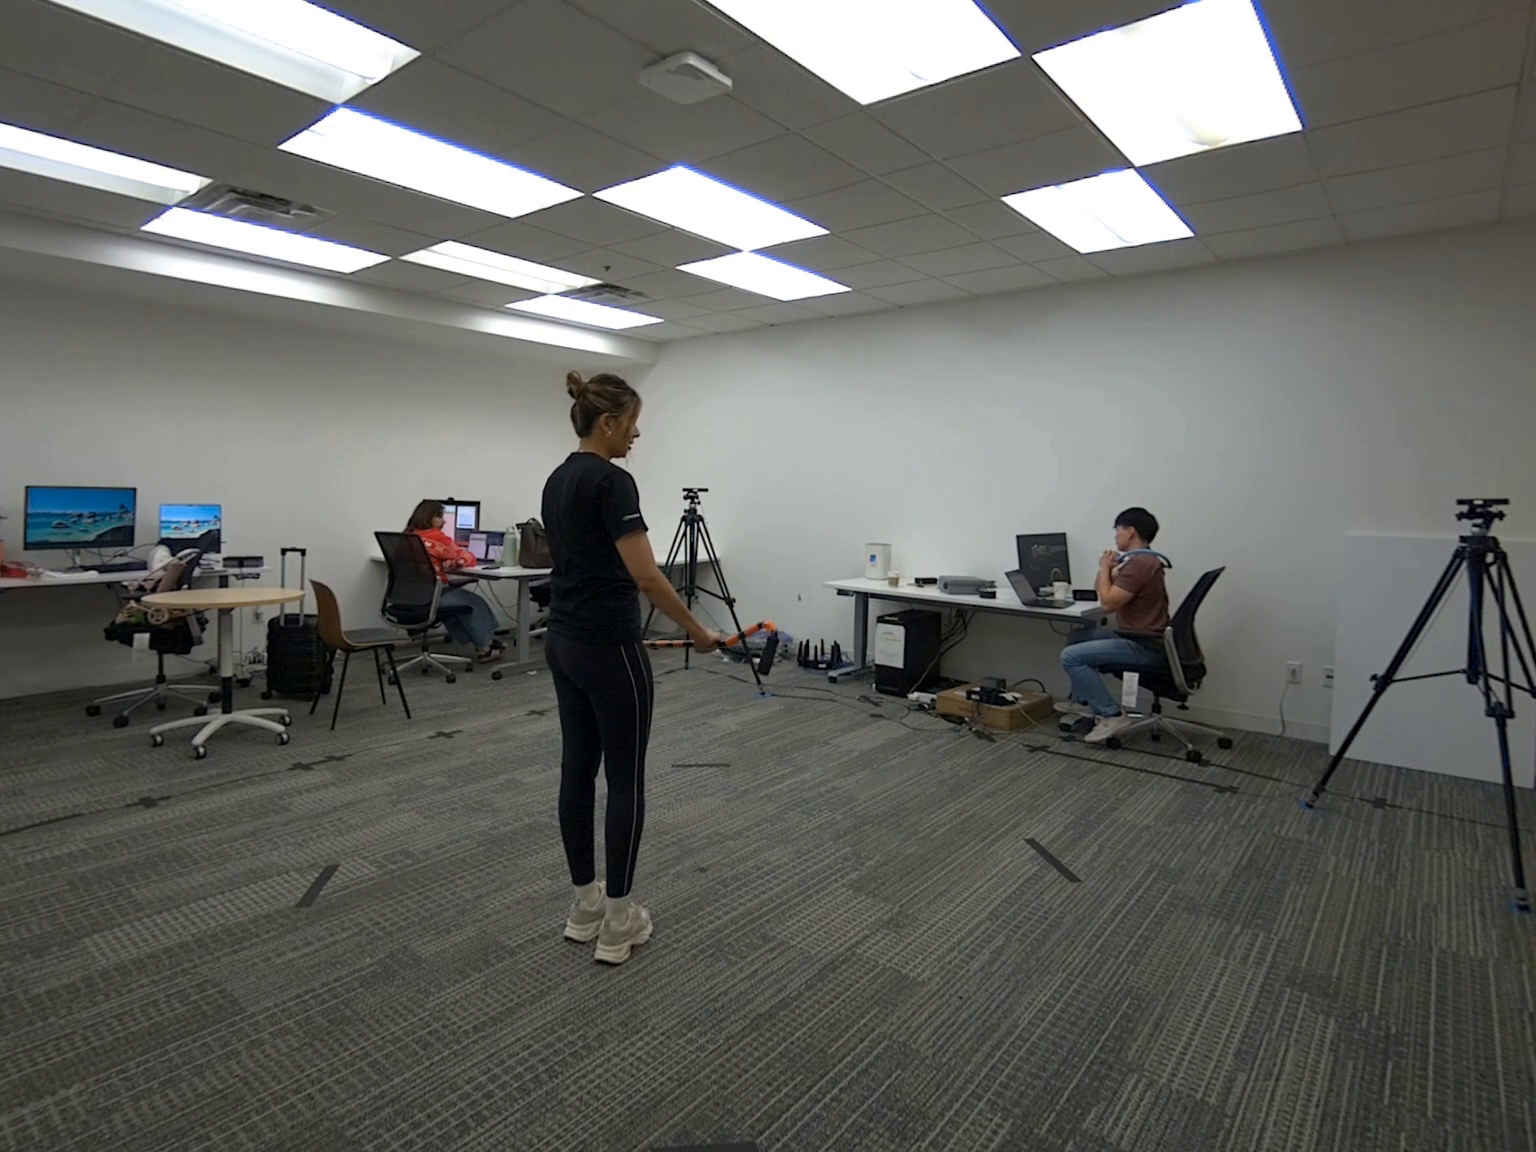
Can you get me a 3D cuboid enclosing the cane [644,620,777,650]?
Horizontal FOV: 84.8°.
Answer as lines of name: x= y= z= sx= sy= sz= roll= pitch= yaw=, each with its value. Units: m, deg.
cane: x=-0.295 y=0.223 z=2.713 sx=0.933 sy=0.209 sz=0.146 roll=-5 pitch=-29 yaw=47
